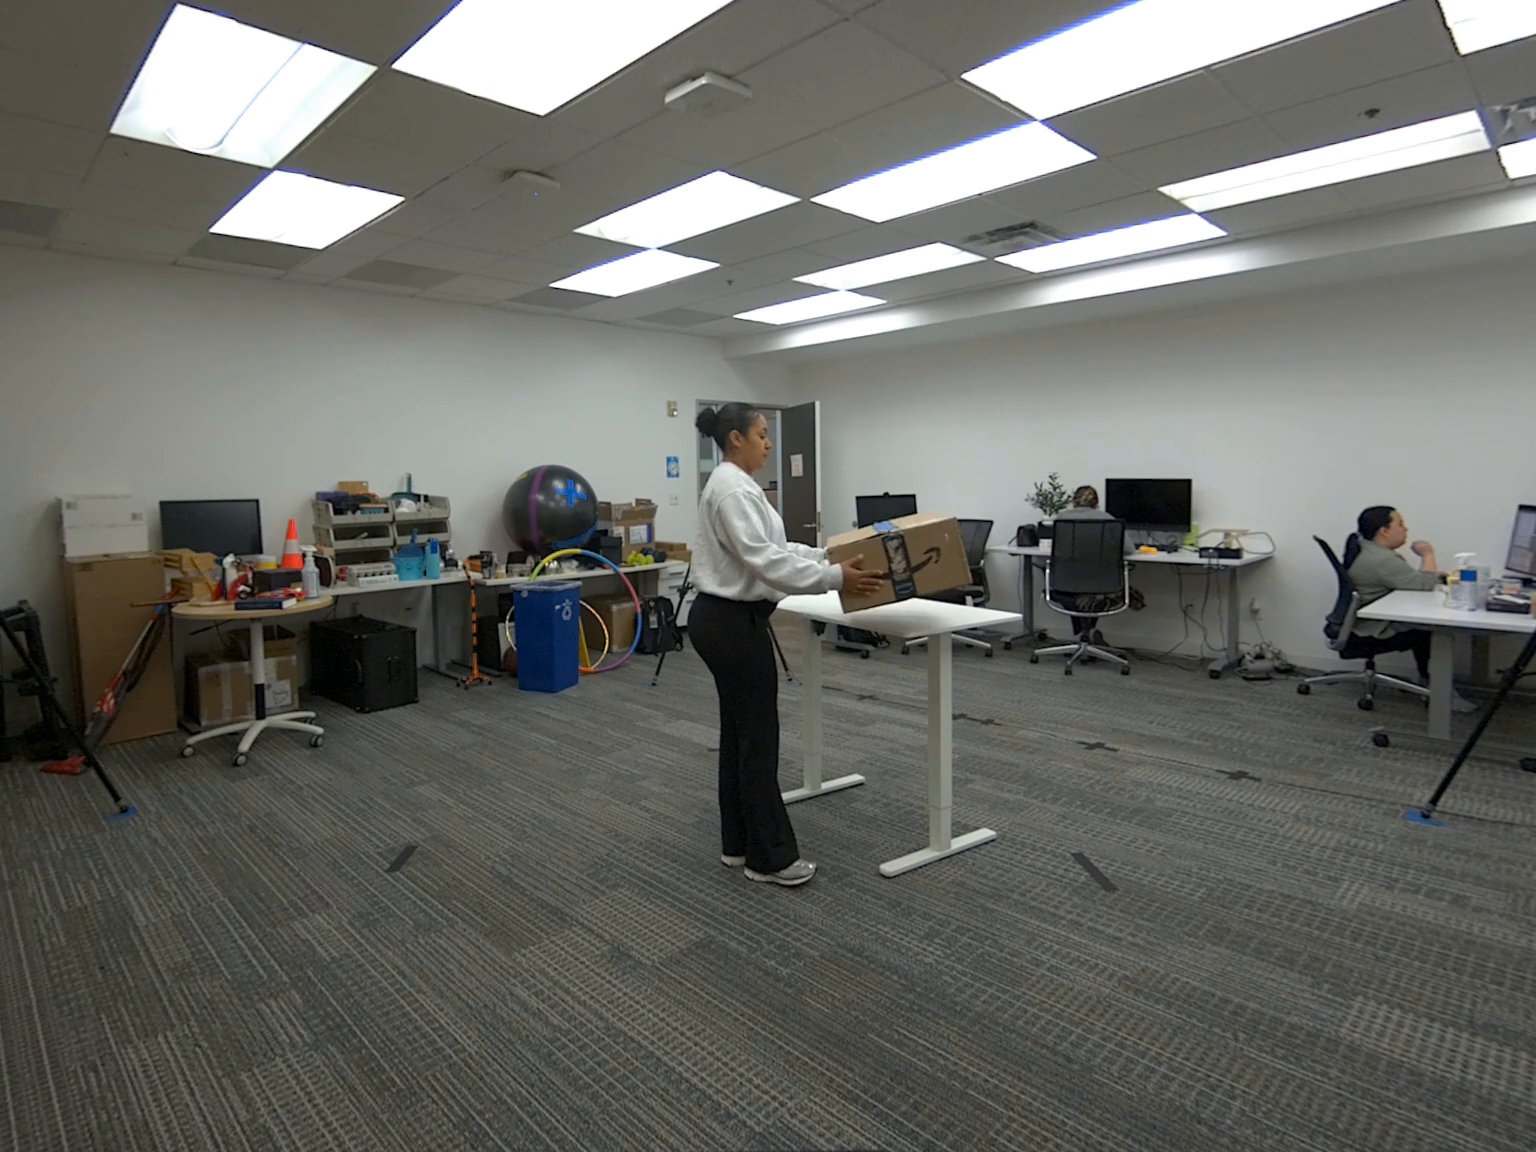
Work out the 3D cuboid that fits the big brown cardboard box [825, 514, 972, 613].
[{"bbox_3d":[0.417,-0.058,2.958,0.419,0.232,0.588,-14,4,5],"label":"big brown cardboard box"}]
